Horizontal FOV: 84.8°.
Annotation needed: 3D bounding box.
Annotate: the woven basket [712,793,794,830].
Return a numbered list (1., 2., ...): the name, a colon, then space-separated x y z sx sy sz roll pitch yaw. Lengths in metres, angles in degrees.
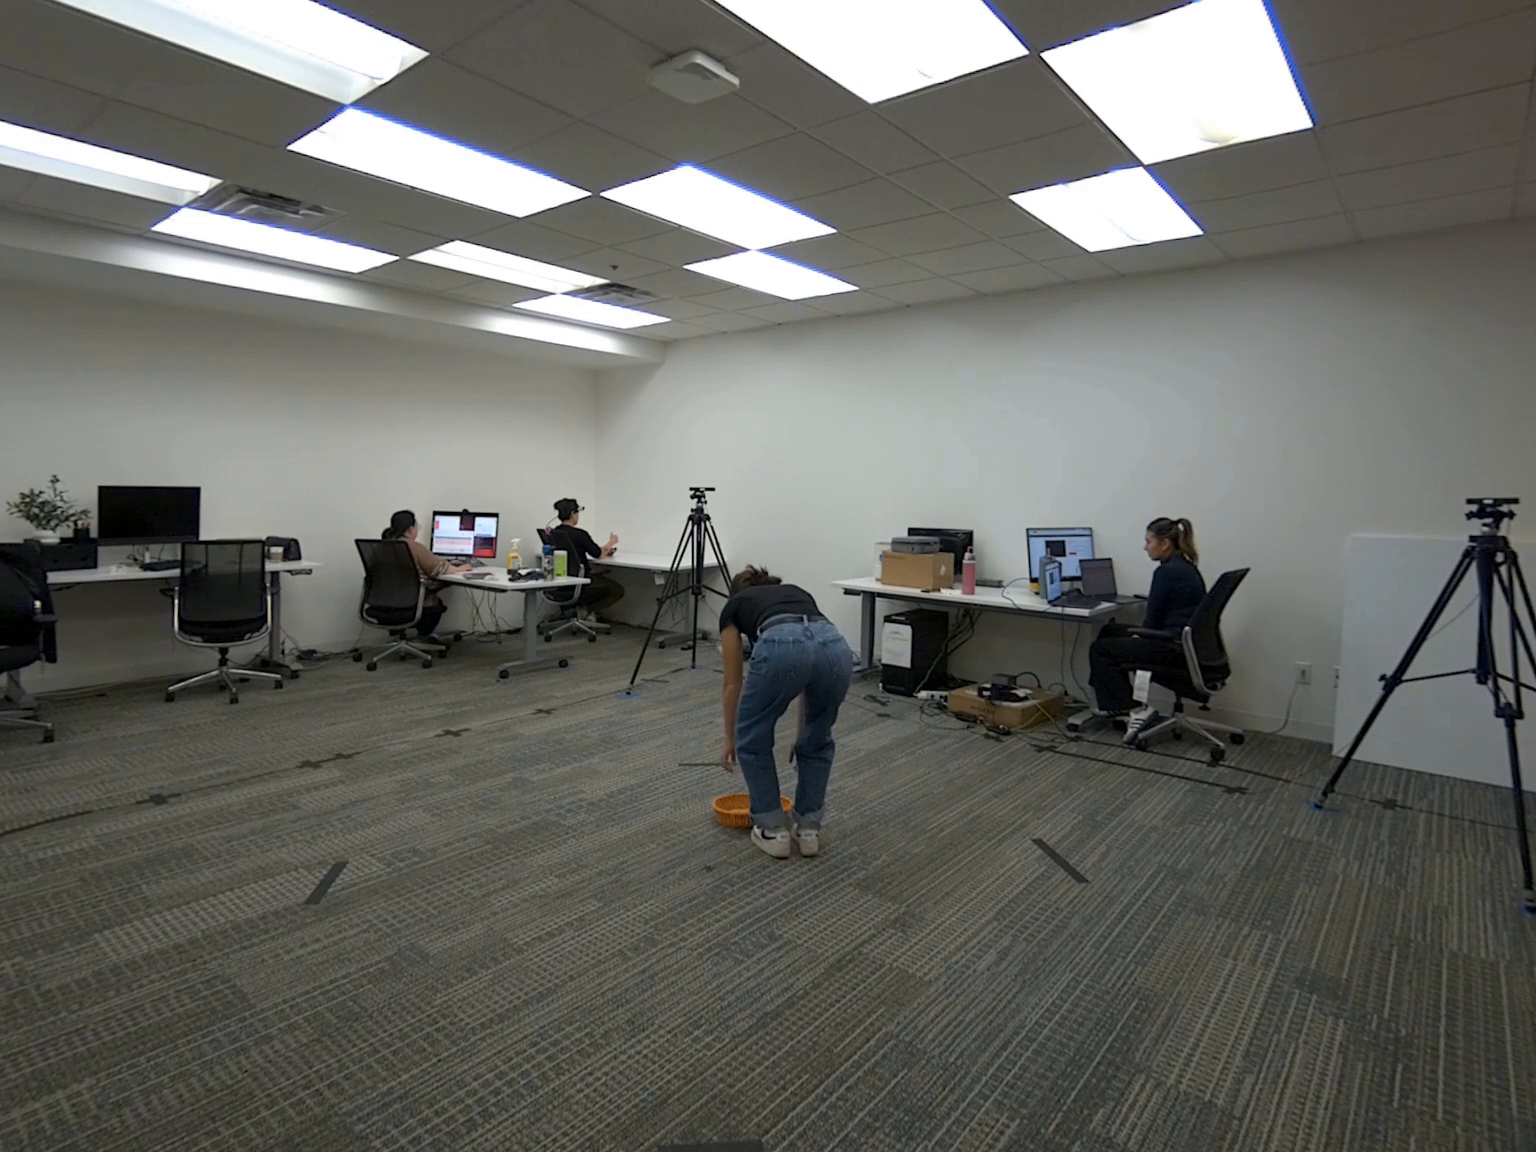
1. woven basket: -0.078 0.984 3.580 0.347 0.073 0.256 0 4 -10
